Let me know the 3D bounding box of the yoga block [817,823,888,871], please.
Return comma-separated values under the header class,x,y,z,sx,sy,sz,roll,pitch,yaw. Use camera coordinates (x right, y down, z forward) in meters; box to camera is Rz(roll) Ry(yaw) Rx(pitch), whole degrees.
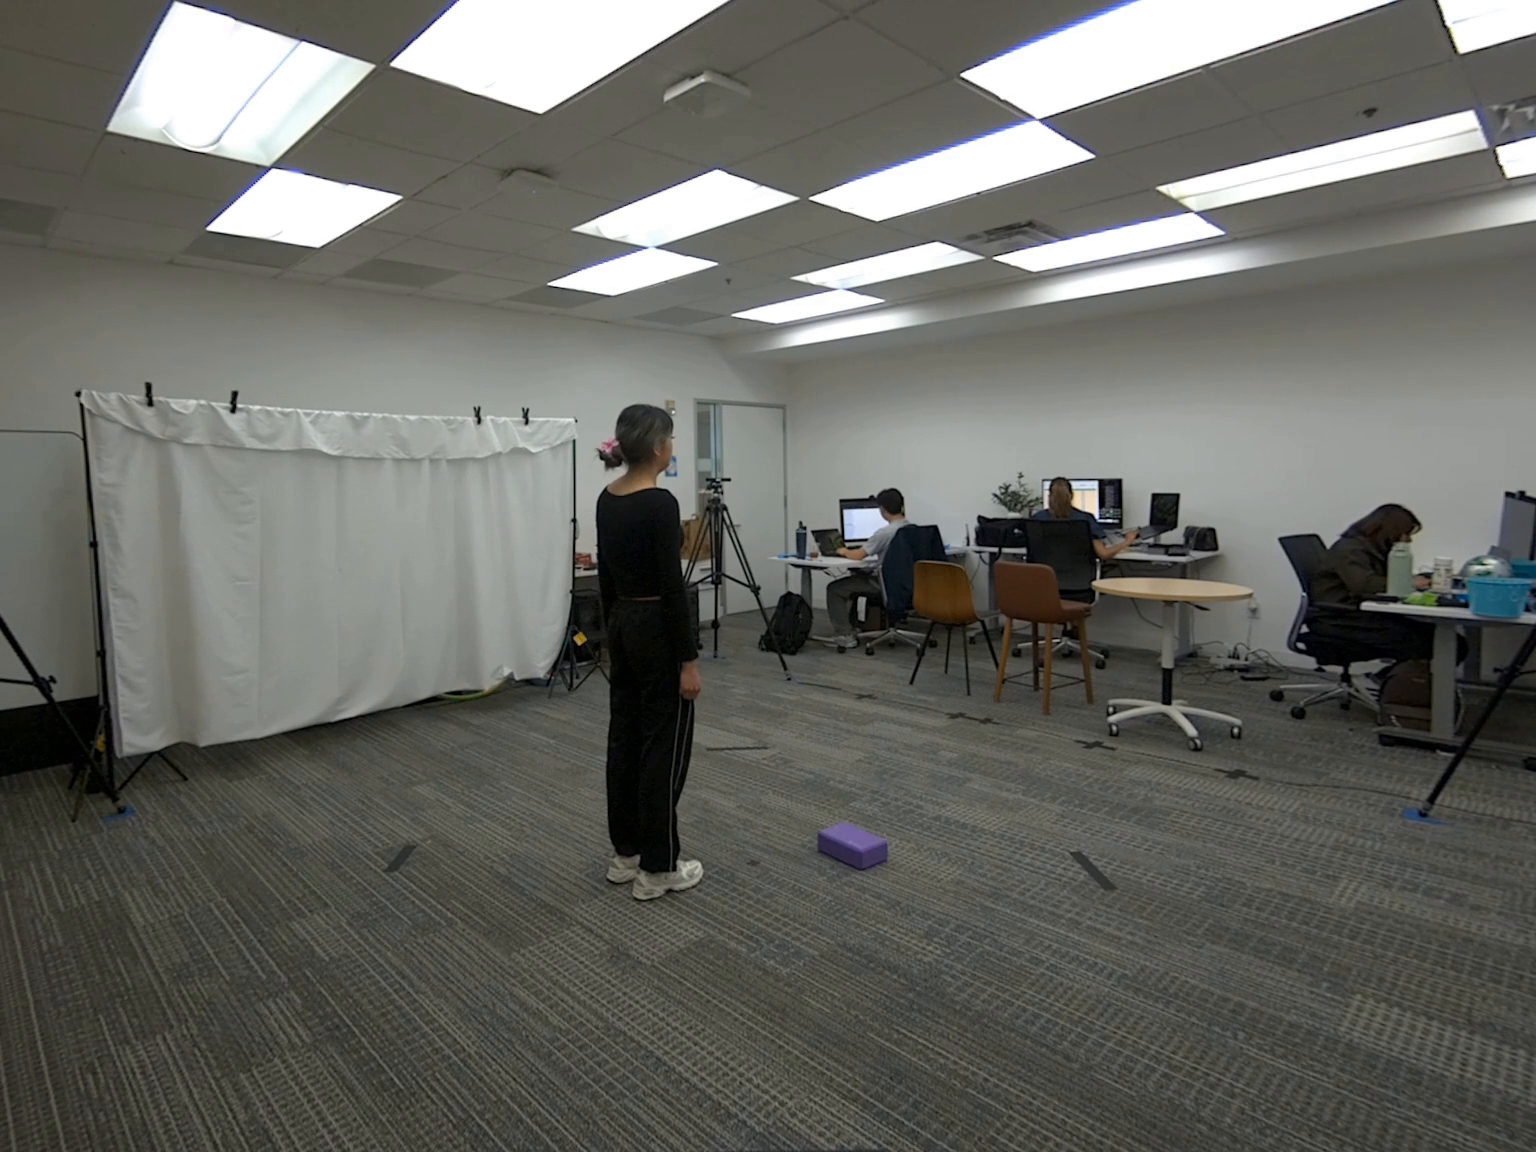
class,x,y,z,sx,sy,sz,roll,pitch,yaw
yoga block,0.314,0.993,3.153,0.145,0.076,0.236,-5,7,-38
